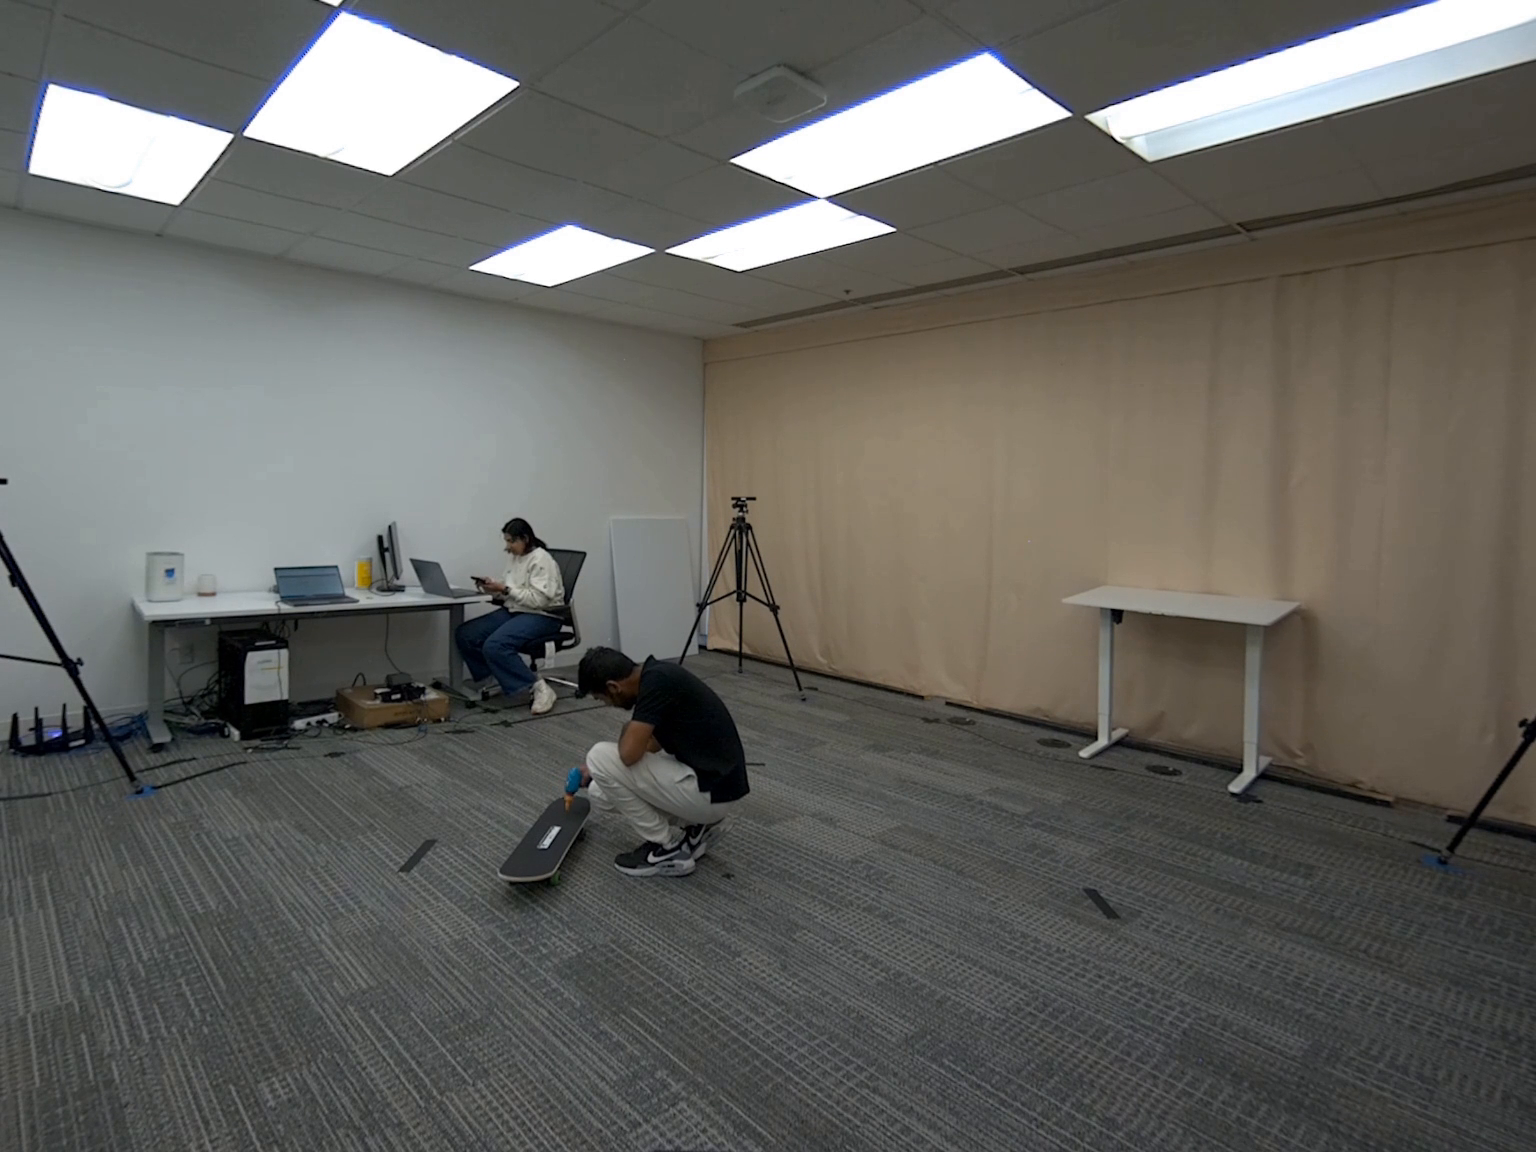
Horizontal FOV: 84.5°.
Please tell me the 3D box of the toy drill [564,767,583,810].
[{"bbox_3d":[-0.781,0.867,3.468,0.142,0.171,0.062,14,-15,-30],"label":"toy drill"}]
